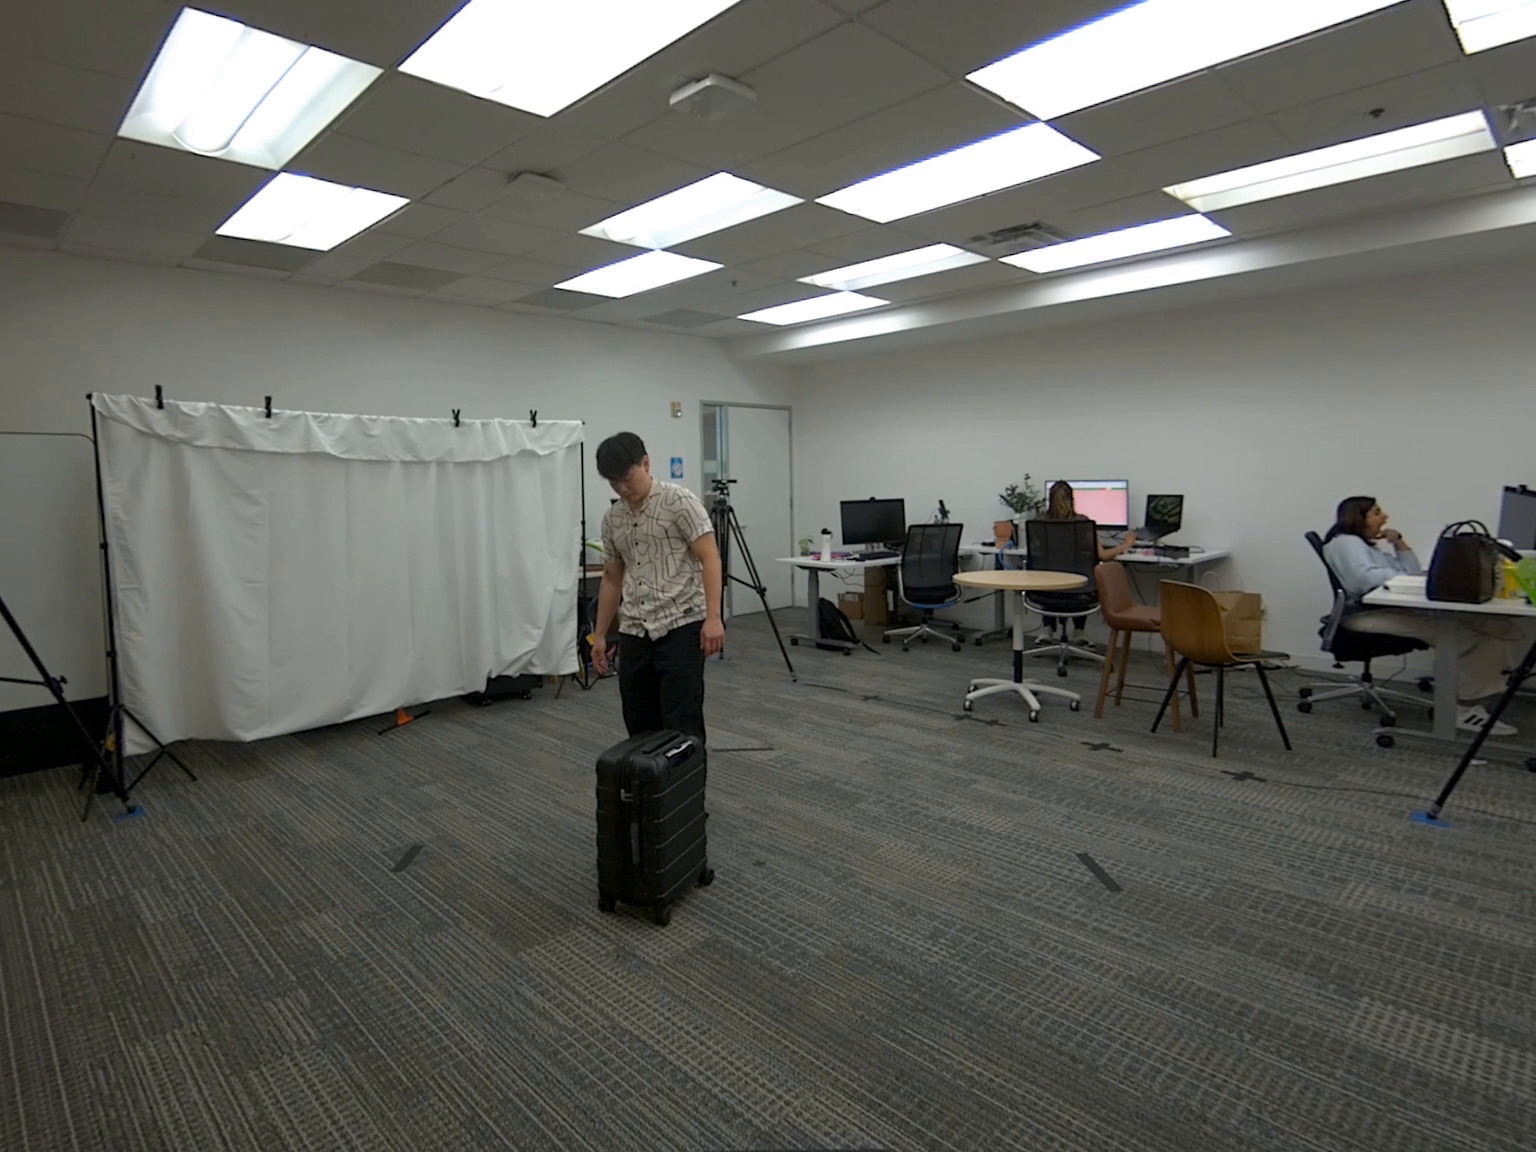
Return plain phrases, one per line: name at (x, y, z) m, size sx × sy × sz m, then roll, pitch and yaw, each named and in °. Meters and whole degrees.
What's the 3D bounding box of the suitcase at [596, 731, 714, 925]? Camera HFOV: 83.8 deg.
suitcase at (-0.386, 0.812, 2.844) m, size 0.254 × 0.547 × 0.369 m, roll 0°, pitch 6°, yaw 24°
